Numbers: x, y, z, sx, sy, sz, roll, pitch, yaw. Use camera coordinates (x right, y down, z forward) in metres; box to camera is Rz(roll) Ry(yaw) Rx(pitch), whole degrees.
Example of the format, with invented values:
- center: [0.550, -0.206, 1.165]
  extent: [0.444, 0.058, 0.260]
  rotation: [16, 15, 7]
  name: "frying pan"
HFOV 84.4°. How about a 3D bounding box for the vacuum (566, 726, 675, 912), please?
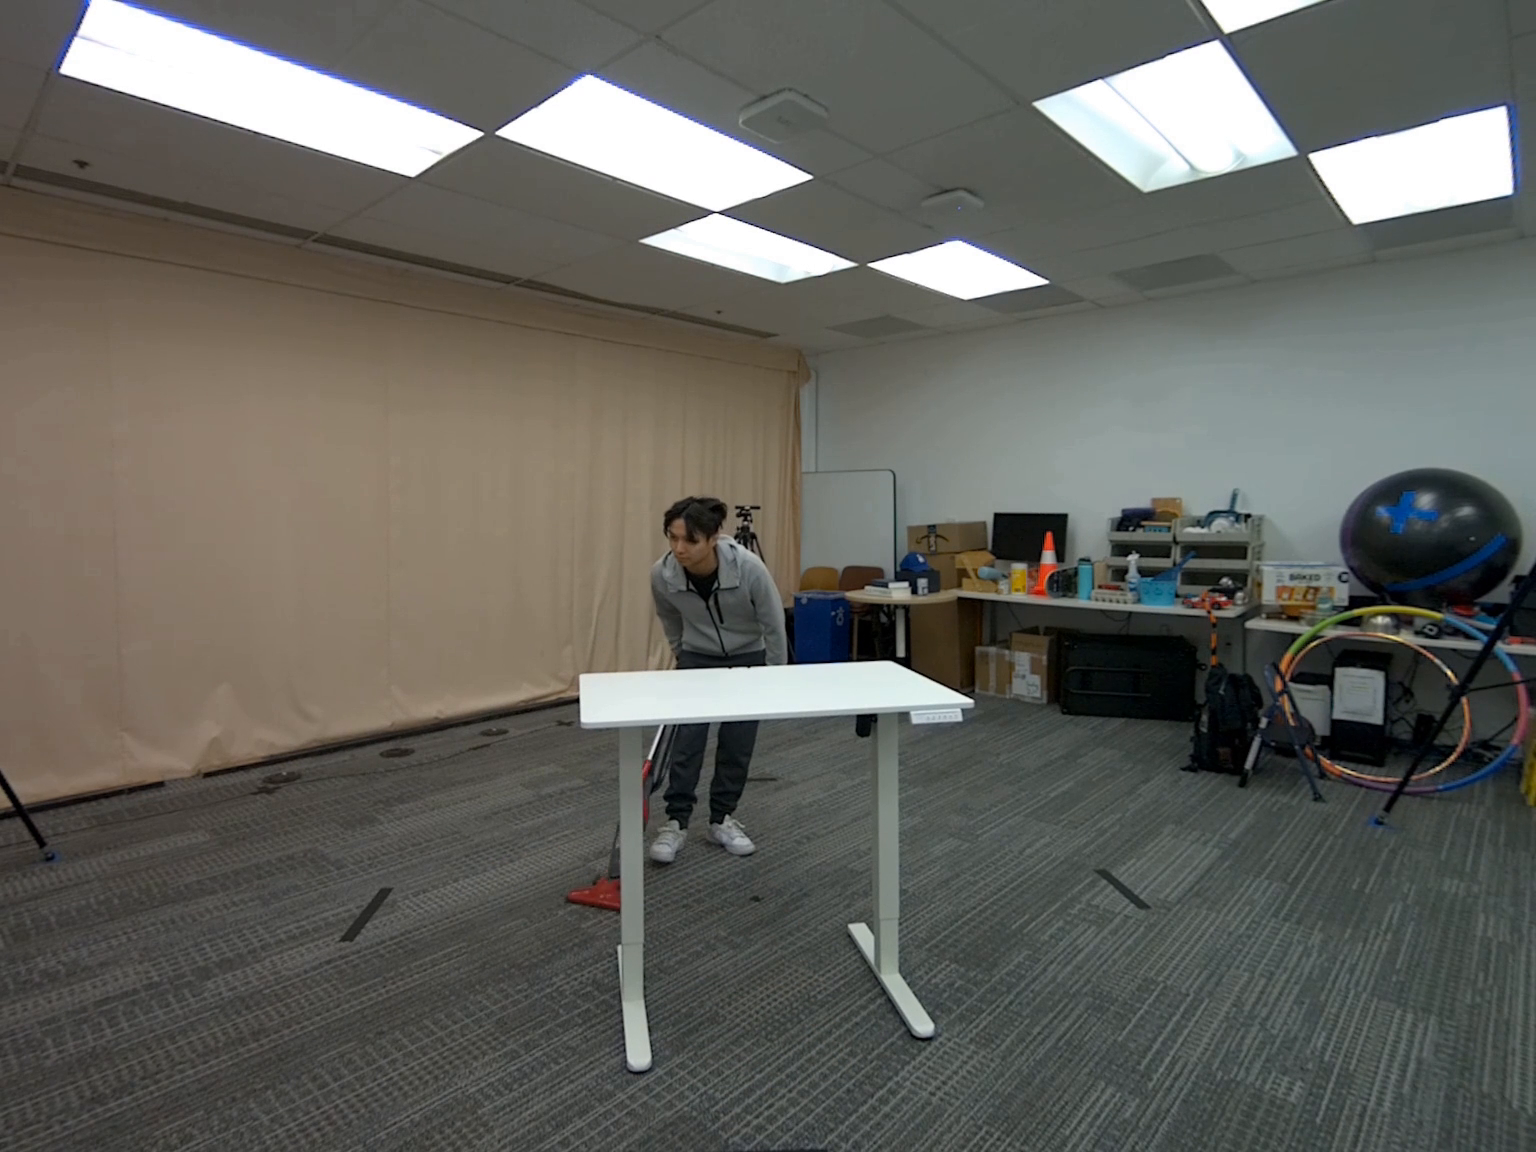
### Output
- center: [-0.475, 0.778, 3.317]
  extent: [0.257, 0.140, 1.057]
  rotation: [-1, 43, 17]
  name: "vacuum"
